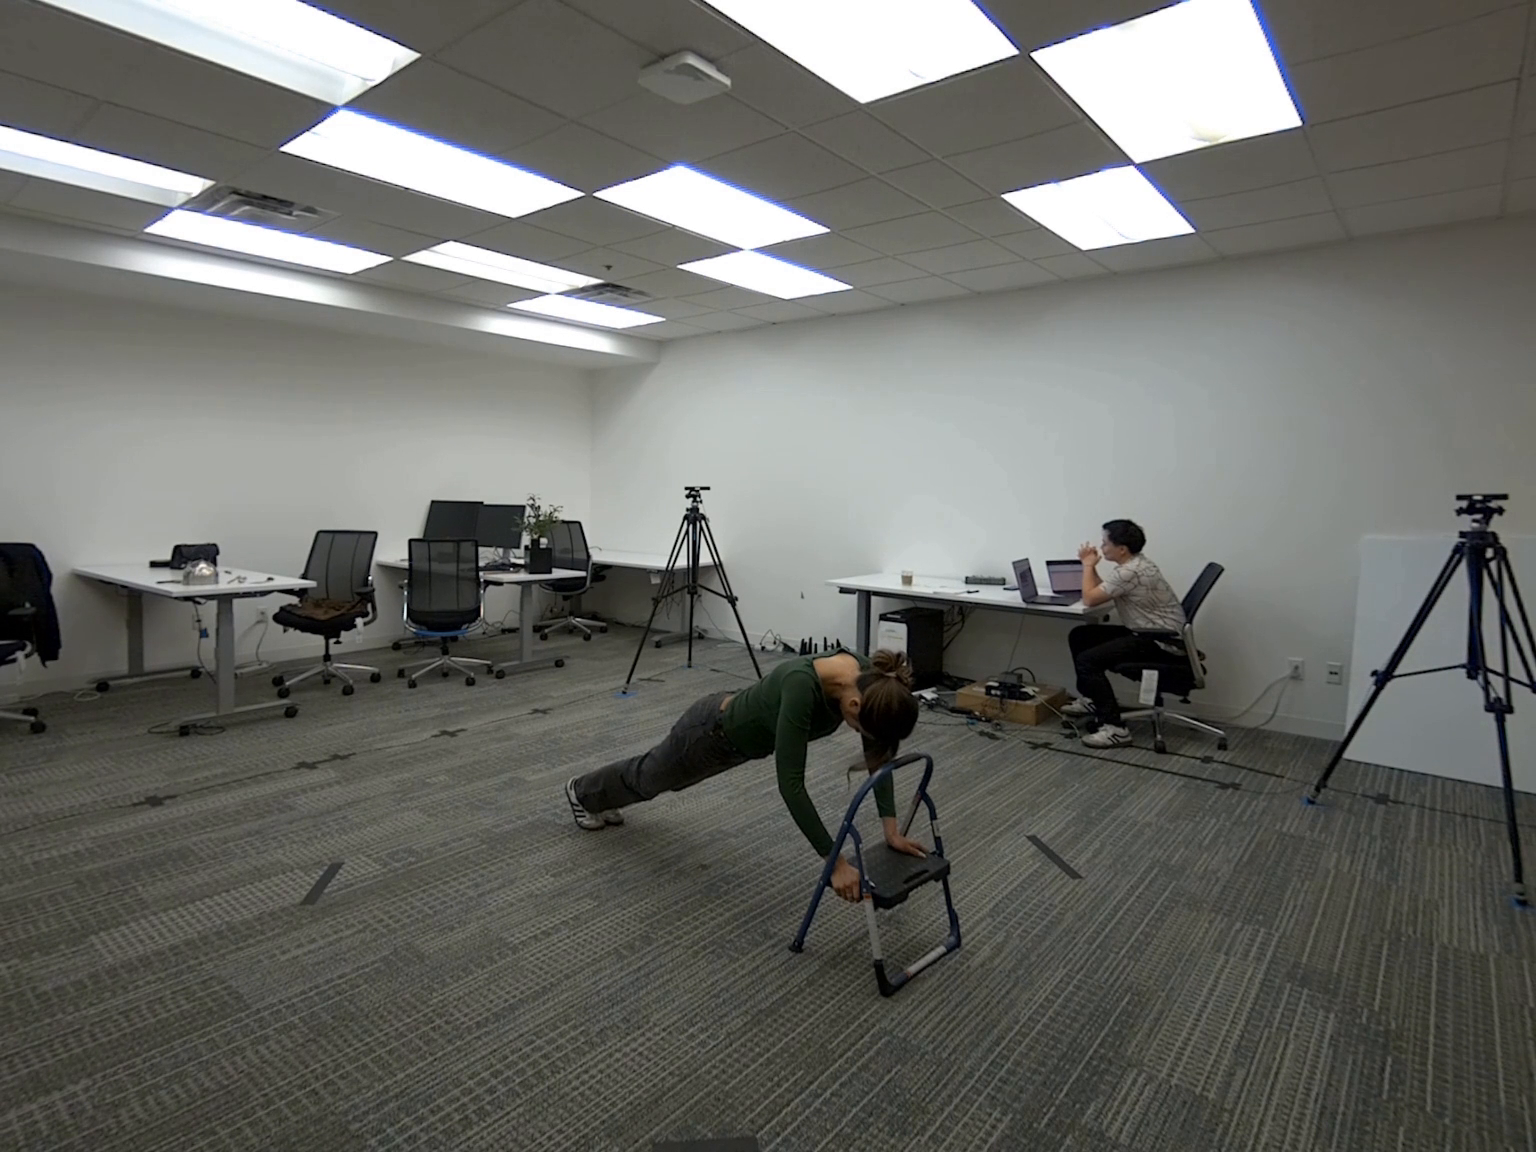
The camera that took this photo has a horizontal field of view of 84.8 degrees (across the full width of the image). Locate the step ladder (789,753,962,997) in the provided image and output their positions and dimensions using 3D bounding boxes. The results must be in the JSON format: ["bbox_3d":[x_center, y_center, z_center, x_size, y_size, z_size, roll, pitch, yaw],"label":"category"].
[{"bbox_3d":[0.333,0.827,2.577,0.361,0.604,0.418,5,5,43],"label":"step ladder"}]
